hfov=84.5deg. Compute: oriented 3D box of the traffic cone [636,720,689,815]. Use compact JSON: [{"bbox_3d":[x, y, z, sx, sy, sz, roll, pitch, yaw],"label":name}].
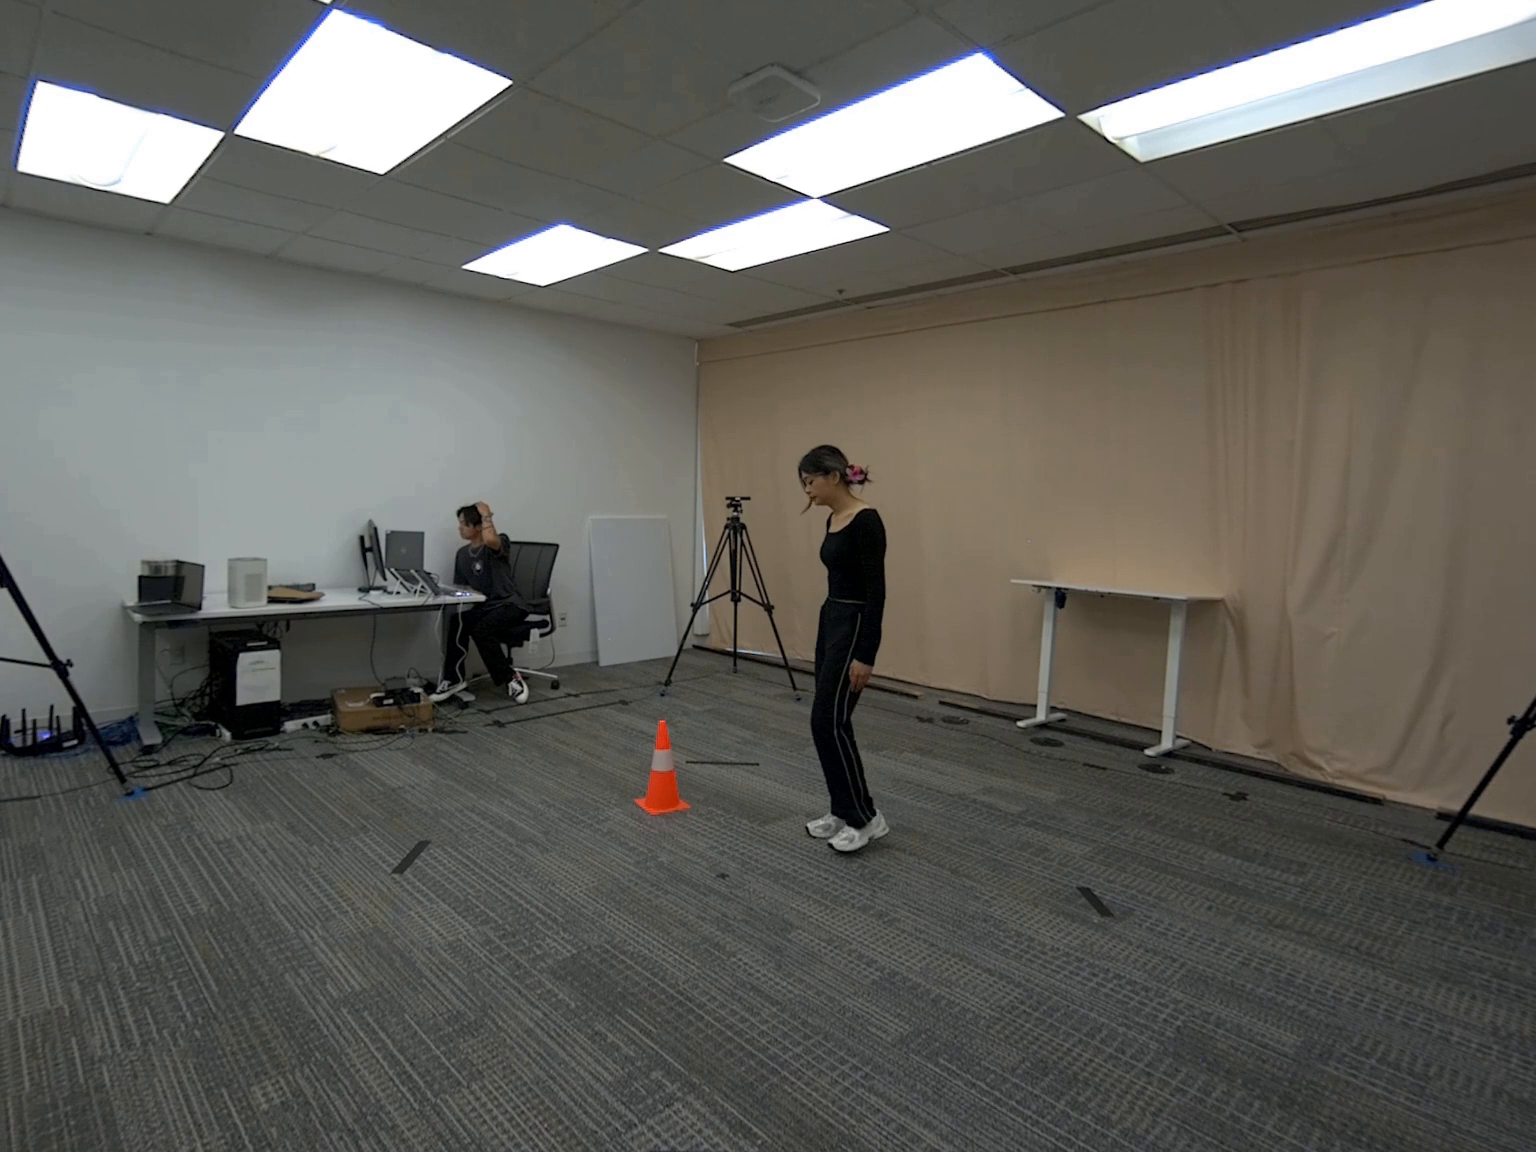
[{"bbox_3d":[-0.482,0.846,3.823,0.199,0.383,0.209,0,2,-32],"label":"traffic cone"}]
